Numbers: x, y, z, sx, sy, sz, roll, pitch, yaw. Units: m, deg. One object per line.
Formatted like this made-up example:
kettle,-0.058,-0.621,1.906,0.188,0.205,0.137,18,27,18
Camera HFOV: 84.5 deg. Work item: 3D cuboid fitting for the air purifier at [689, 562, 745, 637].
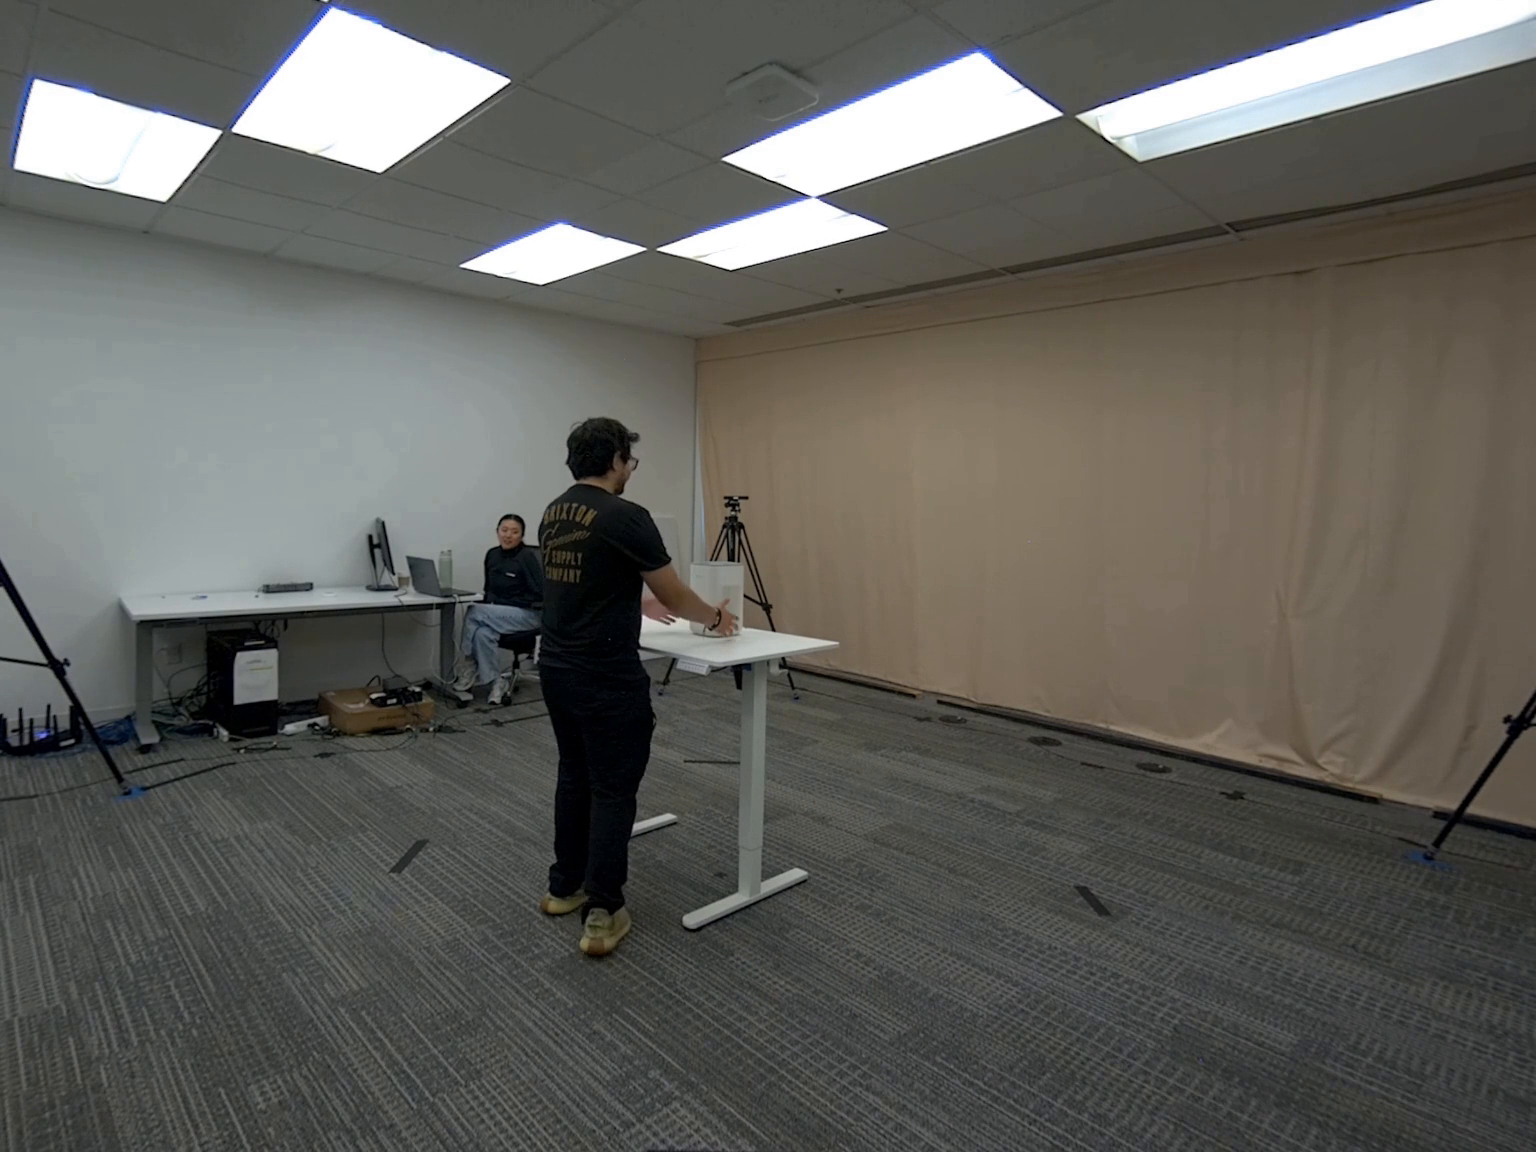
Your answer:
air purifier,-0.193,0.085,3.122,0.167,0.265,0.175,-2,3,-44
